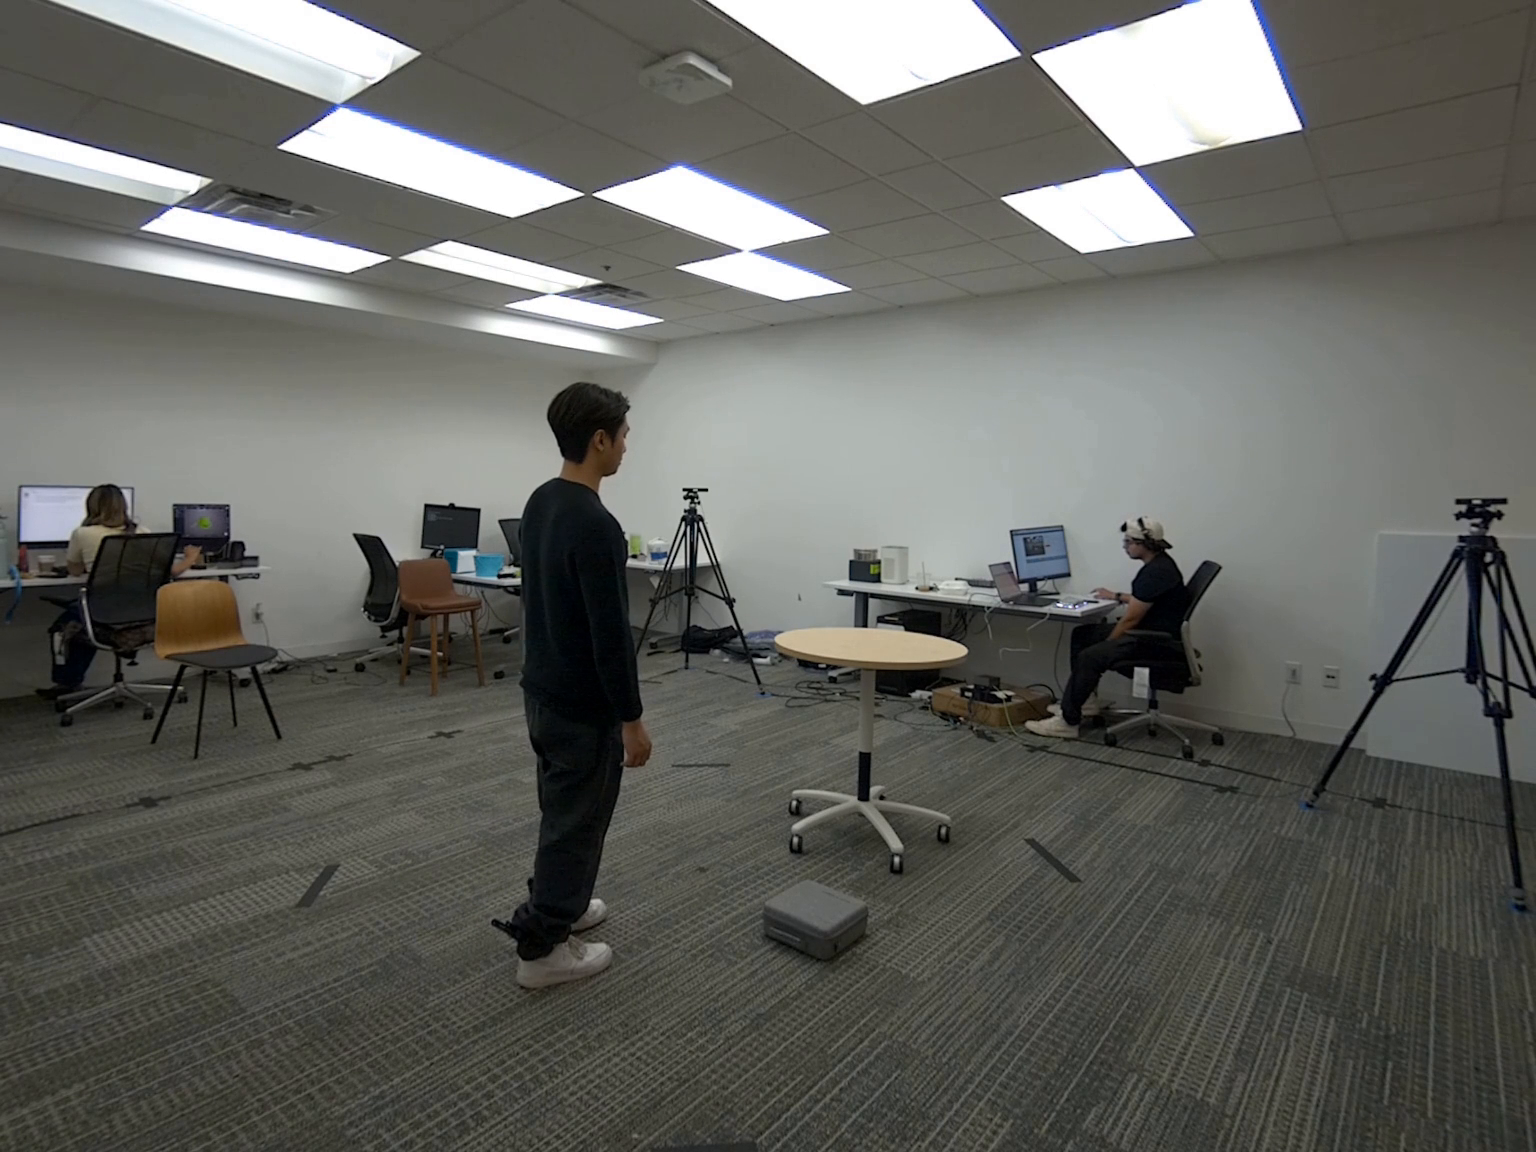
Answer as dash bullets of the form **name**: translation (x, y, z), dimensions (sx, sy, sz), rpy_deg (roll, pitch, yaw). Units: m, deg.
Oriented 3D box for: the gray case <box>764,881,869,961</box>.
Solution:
- **gray case**: translation (0.144, 1.065, 2.657), dimensions (0.266, 0.104, 0.253), rpy_deg (7, 8, 39)
